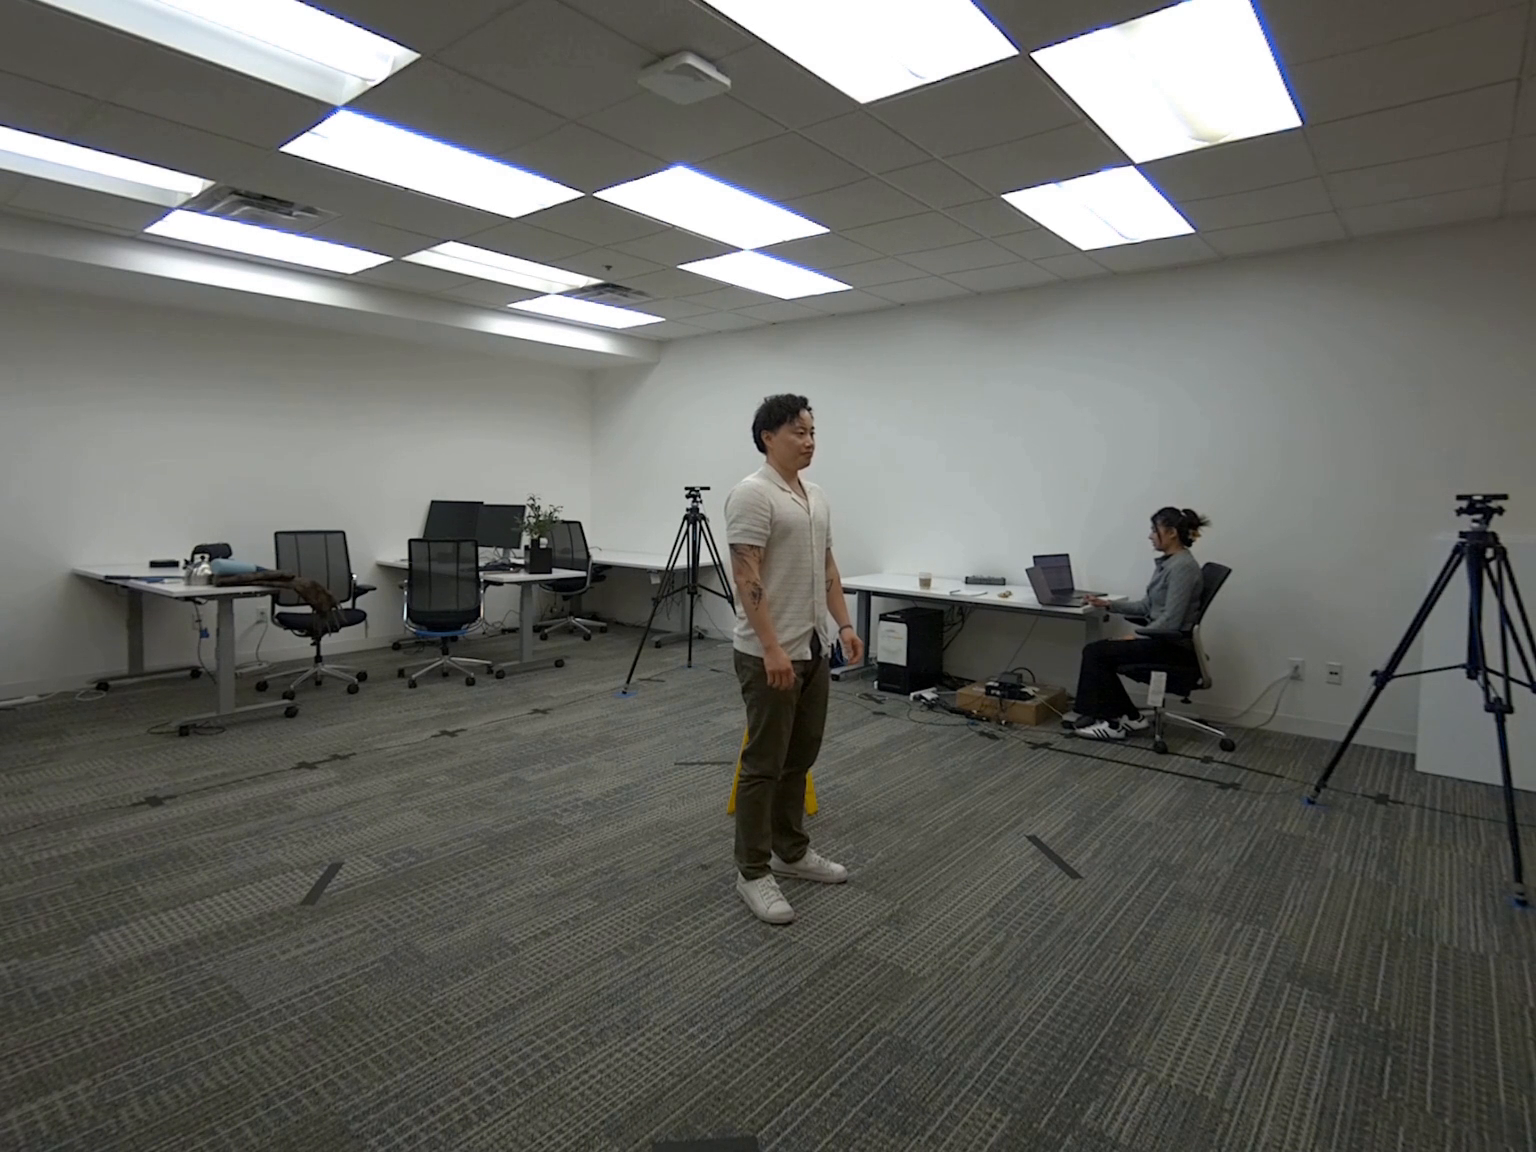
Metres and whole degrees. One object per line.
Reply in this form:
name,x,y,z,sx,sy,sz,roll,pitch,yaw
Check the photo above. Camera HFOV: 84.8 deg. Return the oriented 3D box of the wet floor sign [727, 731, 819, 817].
wet floor sign,0.021,0.689,3.645,0.299,0.644,0.274,3,4,33
